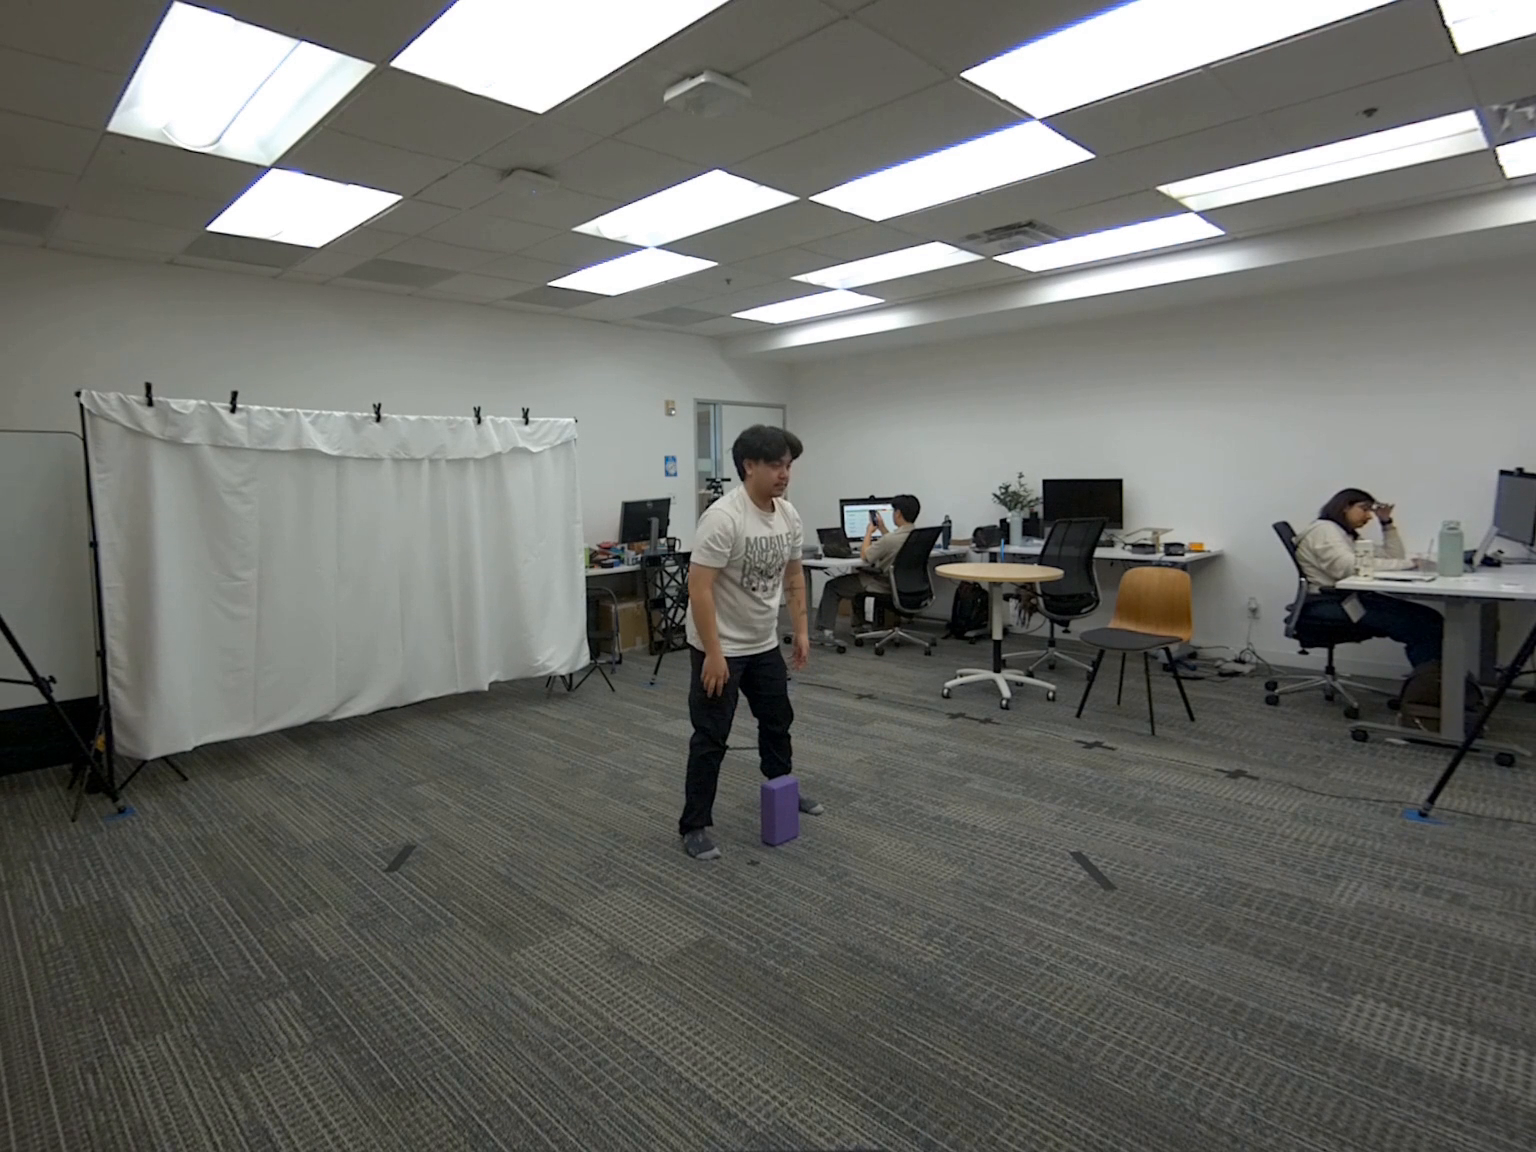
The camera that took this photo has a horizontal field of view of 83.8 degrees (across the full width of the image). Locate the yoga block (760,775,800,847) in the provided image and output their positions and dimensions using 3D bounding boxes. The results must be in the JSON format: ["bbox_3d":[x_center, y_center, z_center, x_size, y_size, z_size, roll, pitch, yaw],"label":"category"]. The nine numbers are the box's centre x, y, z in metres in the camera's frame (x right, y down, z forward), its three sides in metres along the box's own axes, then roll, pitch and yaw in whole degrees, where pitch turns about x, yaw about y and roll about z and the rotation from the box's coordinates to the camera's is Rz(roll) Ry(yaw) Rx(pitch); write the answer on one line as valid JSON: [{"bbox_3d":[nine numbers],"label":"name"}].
[{"bbox_3d":[0.038,0.903,3.301,0.079,0.228,0.145,4,5,44],"label":"yoga block"}]
